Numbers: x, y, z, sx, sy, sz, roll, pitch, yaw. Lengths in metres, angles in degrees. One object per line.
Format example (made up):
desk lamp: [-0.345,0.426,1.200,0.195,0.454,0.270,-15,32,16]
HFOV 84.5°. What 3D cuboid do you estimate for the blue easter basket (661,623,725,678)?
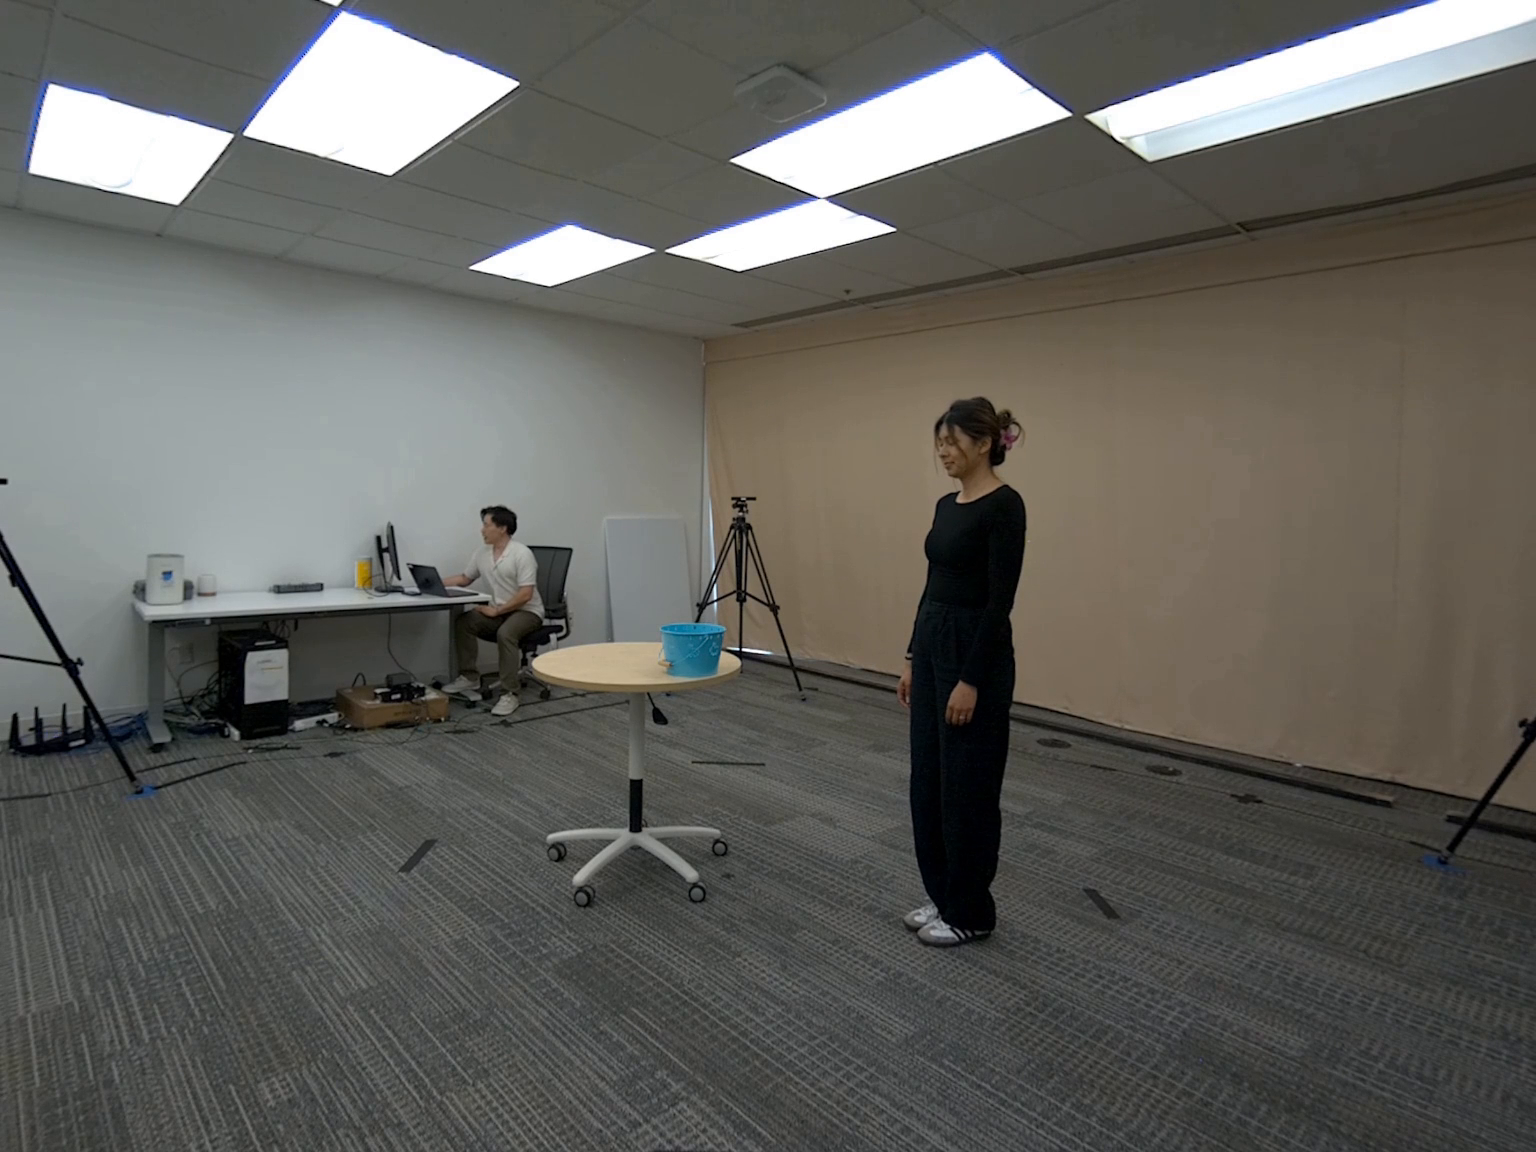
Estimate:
blue easter basket: [-0.268,0.265,2.945,0.243,0.155,0.244,4,4,-2]
